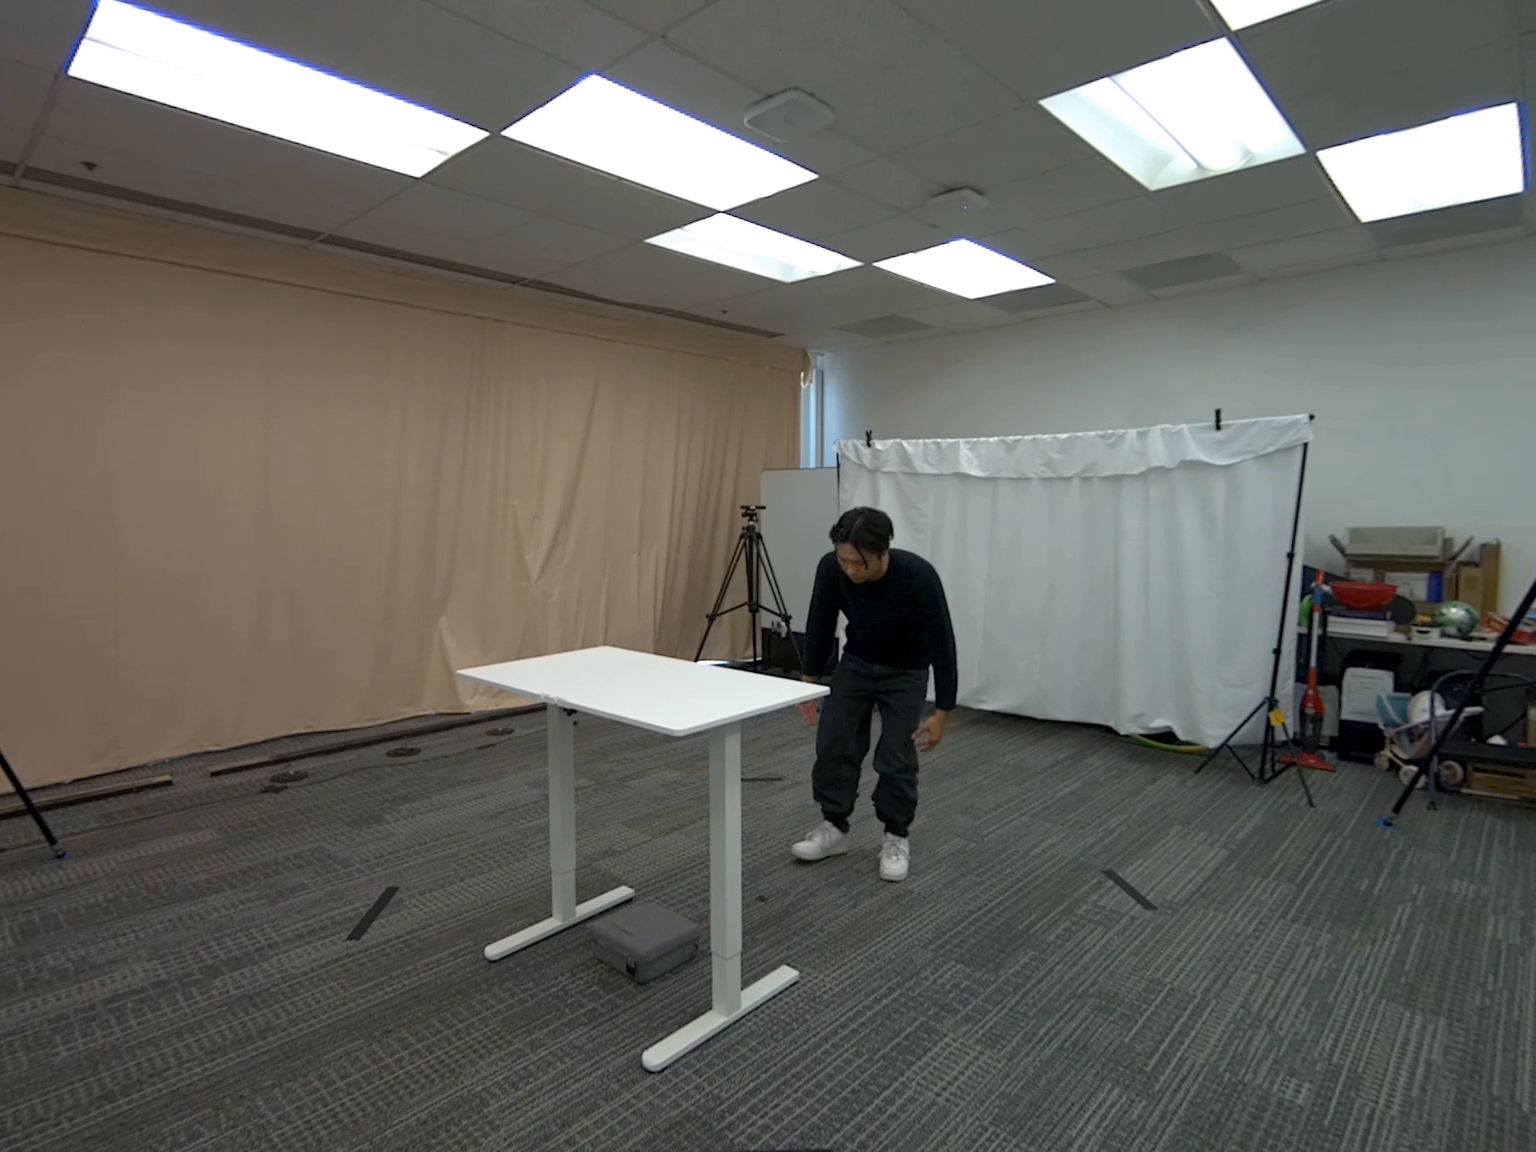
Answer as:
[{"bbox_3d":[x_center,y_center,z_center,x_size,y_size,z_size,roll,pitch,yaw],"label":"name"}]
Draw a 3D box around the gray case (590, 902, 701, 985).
[{"bbox_3d":[-0.379,1.117,2.601,0.269,0.104,0.249,3,6,42],"label":"gray case"}]
